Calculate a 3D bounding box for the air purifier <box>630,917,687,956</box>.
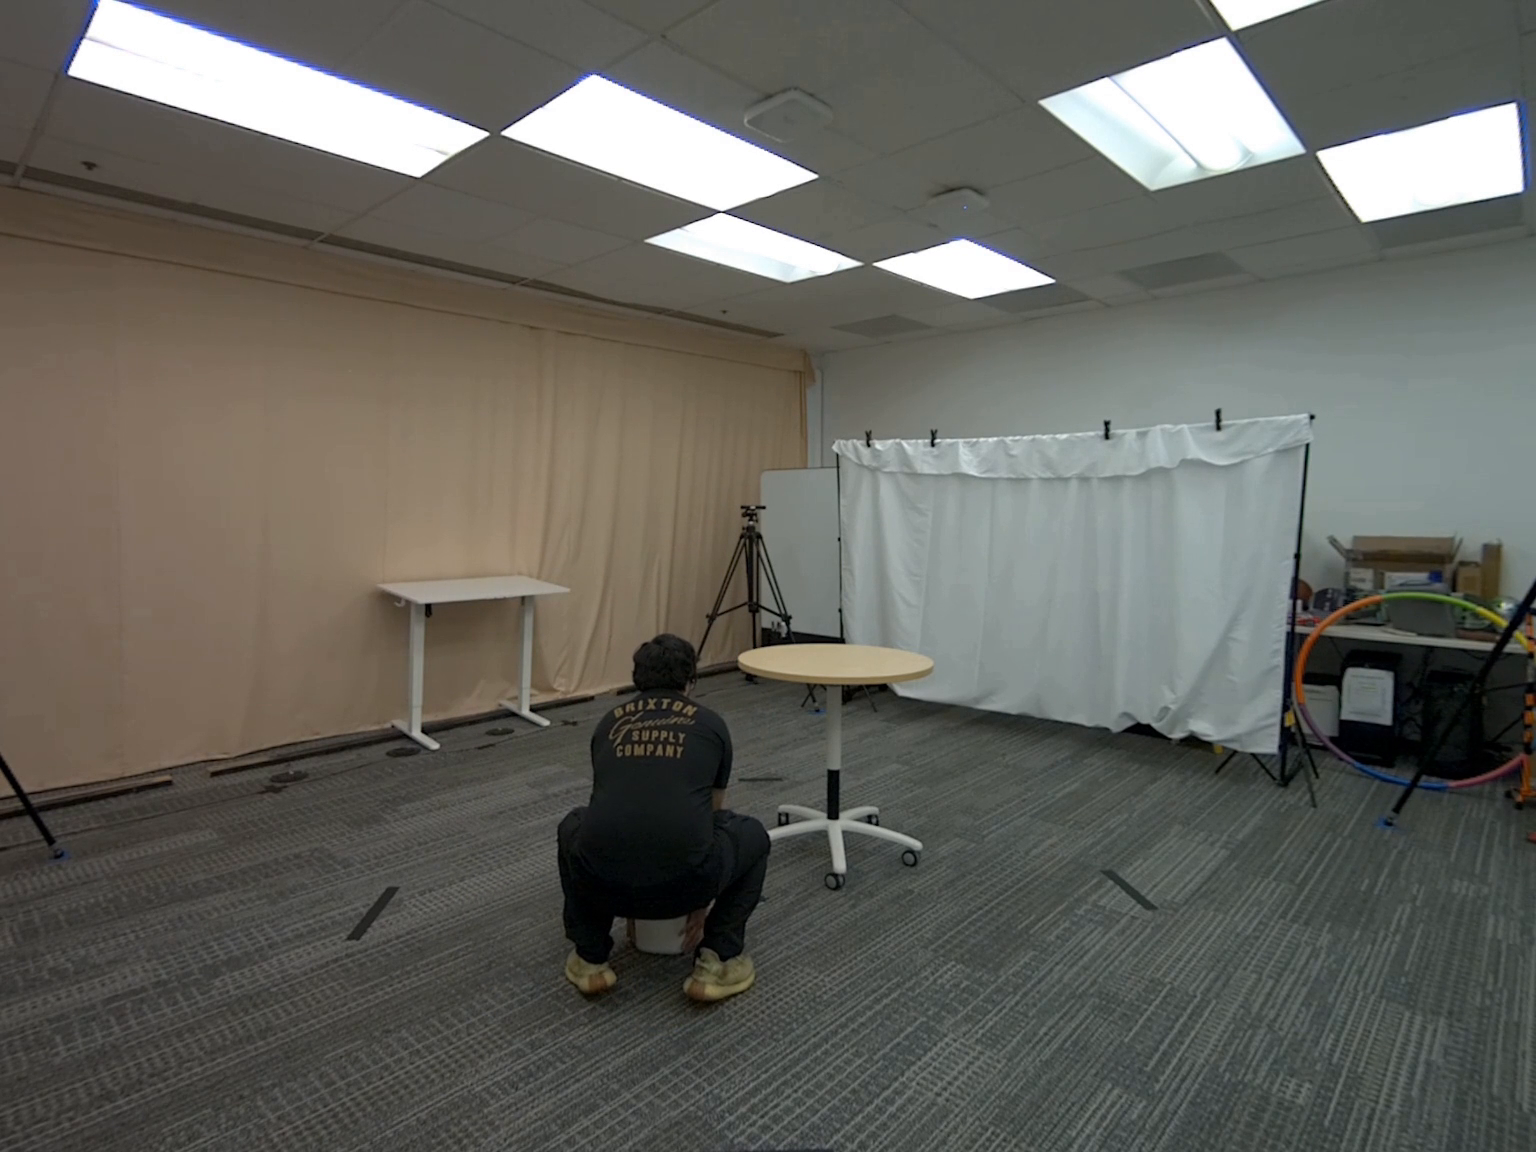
[{"bbox_3d":[-0.335,1.044,2.665,0.170,0.261,0.172,0,4,11],"label":"air purifier"}]
